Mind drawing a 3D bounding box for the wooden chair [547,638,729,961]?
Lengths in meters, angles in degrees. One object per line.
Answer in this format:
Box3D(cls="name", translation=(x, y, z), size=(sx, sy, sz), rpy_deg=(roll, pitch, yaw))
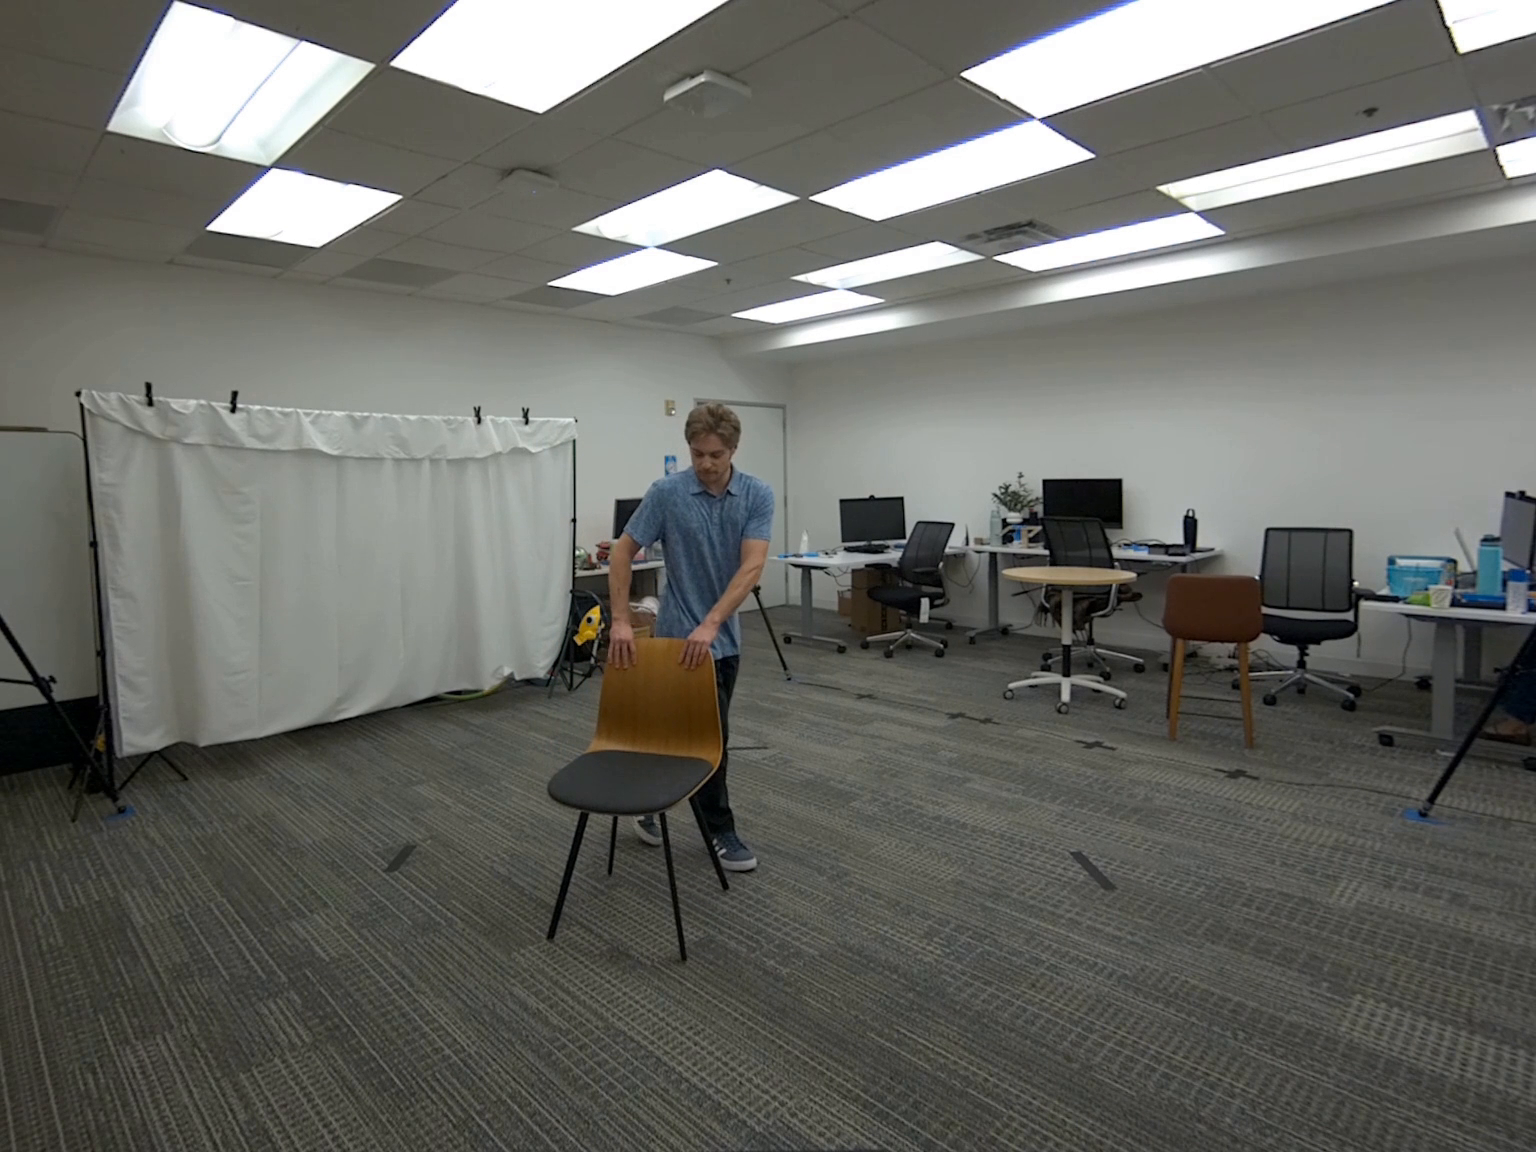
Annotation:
Box3D(cls="wooden chair", translation=(-0.406, 0.665, 2.715), size=(0.486, 0.877, 0.515), rpy_deg=(1, 0, 16))
